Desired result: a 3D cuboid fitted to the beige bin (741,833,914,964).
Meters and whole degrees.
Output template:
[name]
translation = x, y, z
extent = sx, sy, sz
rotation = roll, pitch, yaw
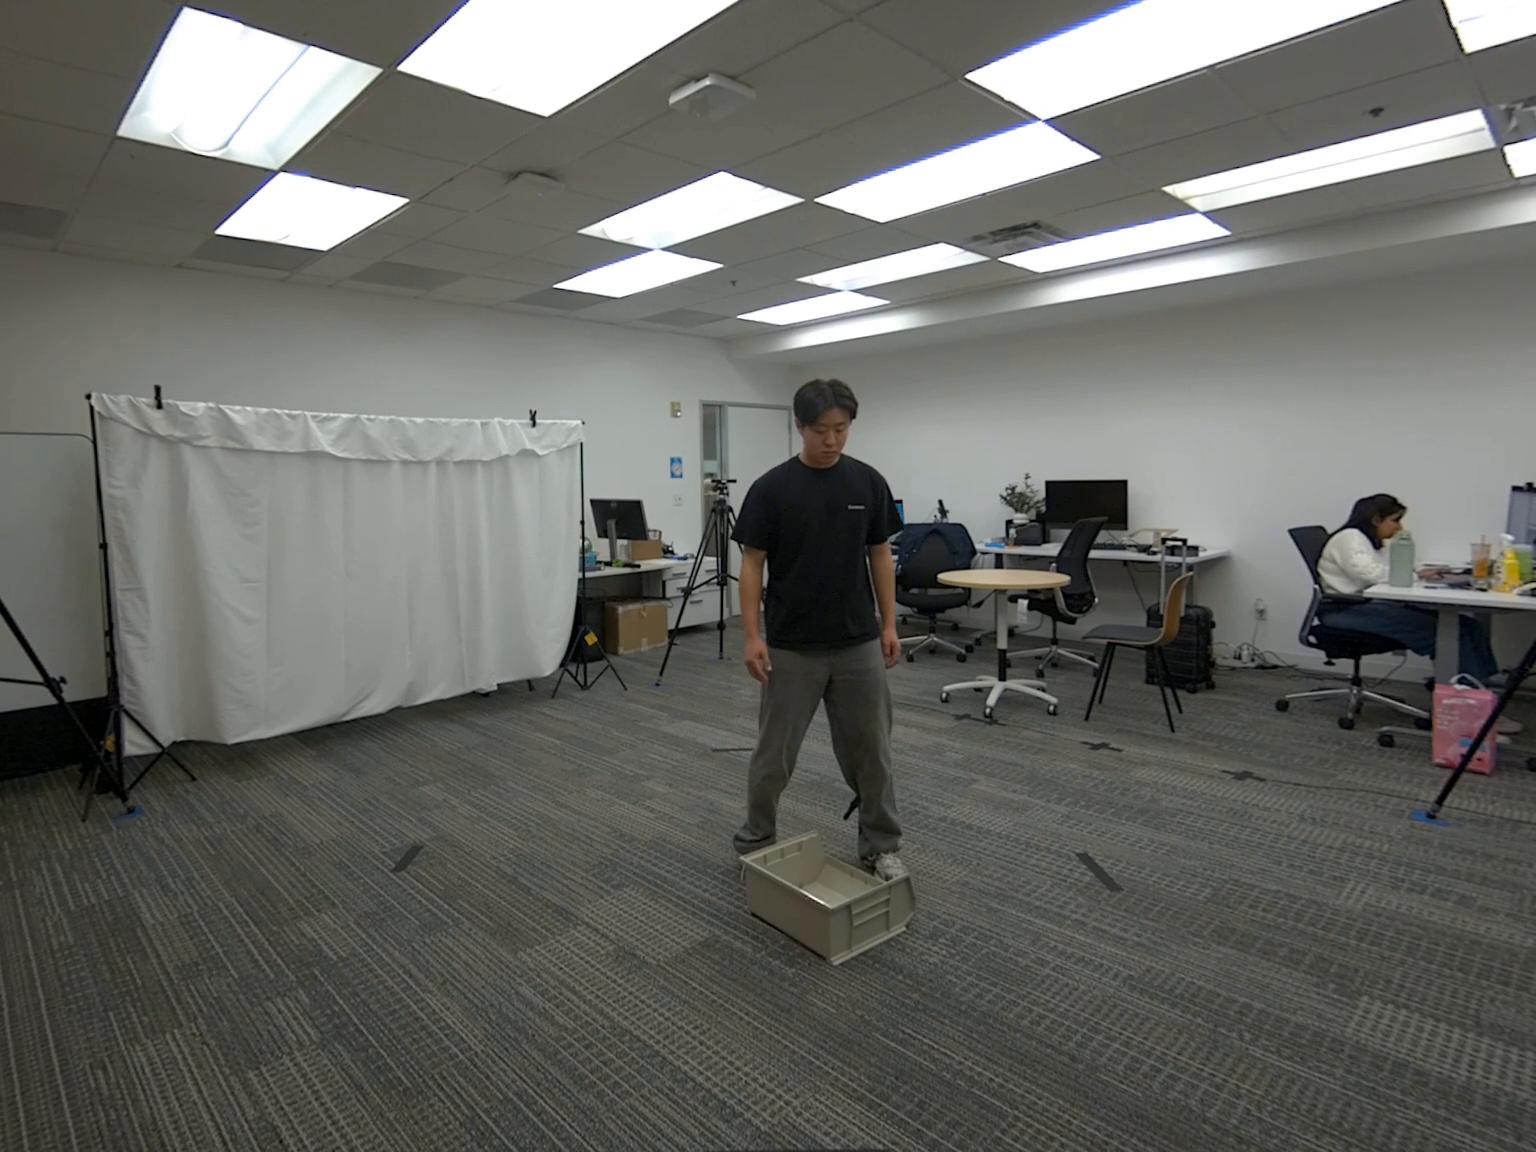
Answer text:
[beige bin]
translation = 0.191, 1.000, 2.705
extent = 0.368, 0.188, 0.435
rotation = -7, 9, -38
